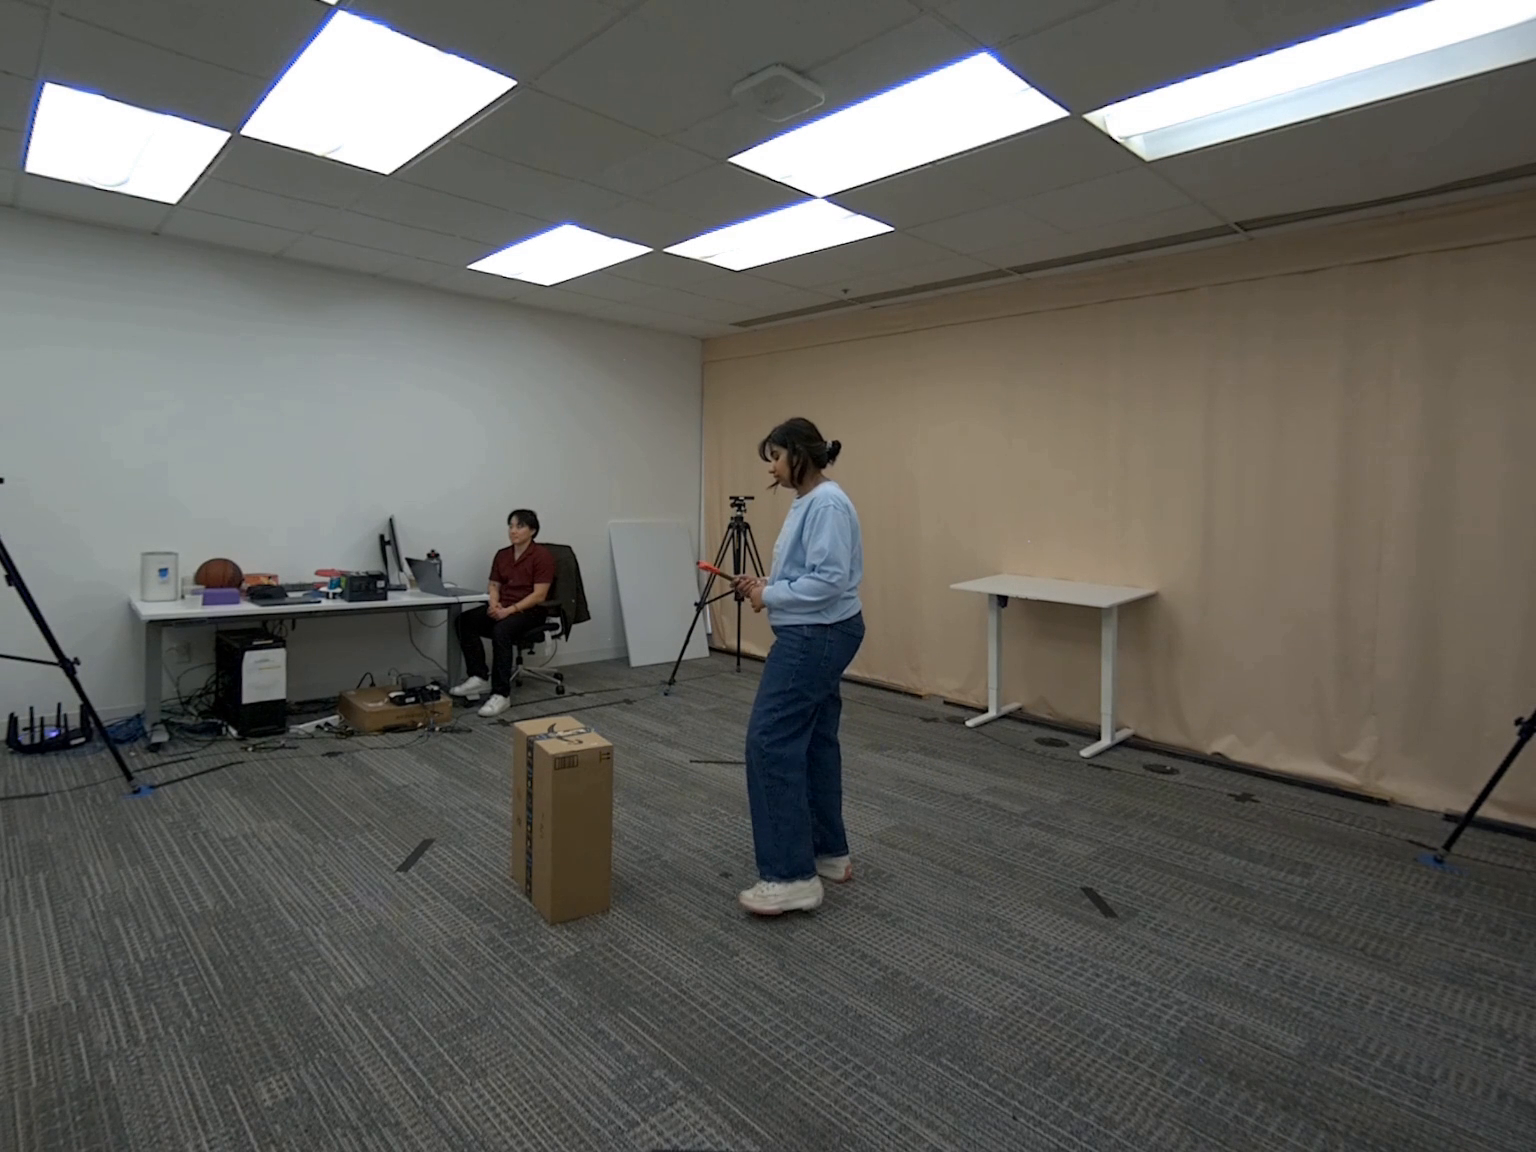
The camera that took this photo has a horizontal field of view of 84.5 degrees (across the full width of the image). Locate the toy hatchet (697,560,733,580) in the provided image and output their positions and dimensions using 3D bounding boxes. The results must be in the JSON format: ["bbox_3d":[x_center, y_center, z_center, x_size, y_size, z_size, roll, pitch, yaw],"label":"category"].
[{"bbox_3d":[-0.136,0.008,3.058,0.271,0.030,0.130,20,-9,4],"label":"toy hatchet"}]
